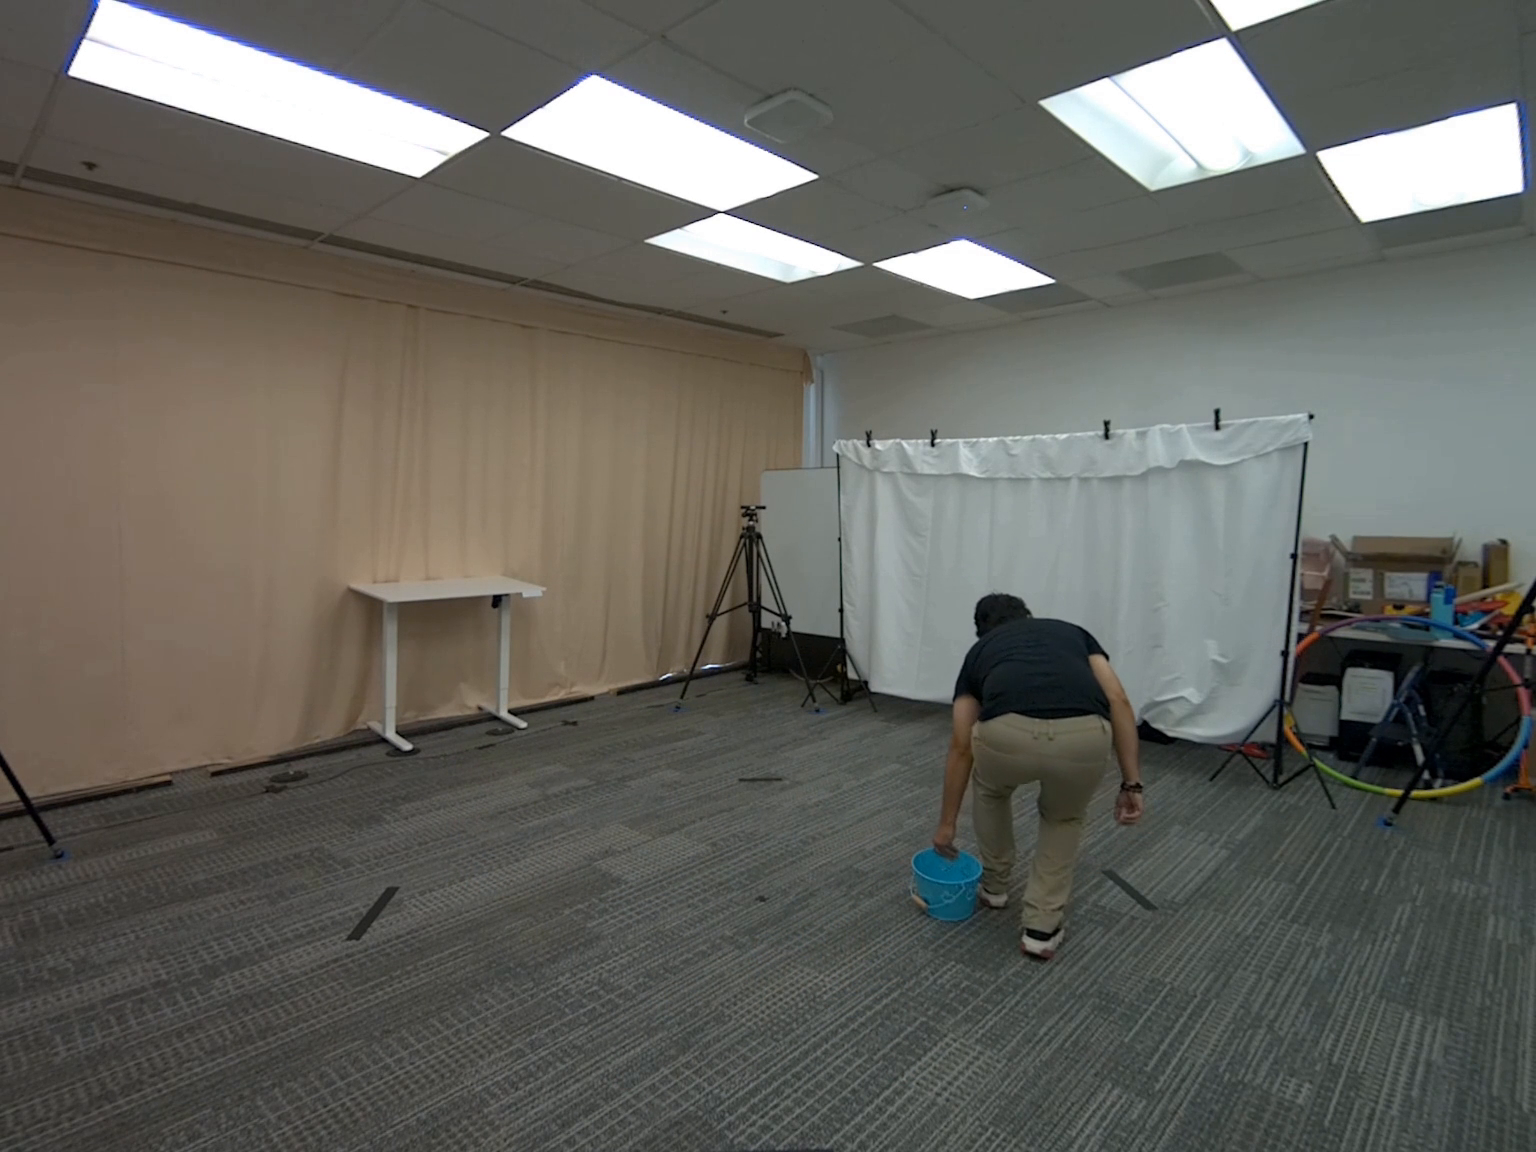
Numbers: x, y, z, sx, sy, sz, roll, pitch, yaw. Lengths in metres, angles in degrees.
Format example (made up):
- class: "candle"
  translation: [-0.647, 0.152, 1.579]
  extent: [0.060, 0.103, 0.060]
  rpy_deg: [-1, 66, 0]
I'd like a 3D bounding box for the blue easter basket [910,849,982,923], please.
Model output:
- class: "blue easter basket"
  translation: [0.618, 1.066, 2.896]
  extent: [0.243, 0.155, 0.245]
  rpy_deg: [-2, 10, -2]
